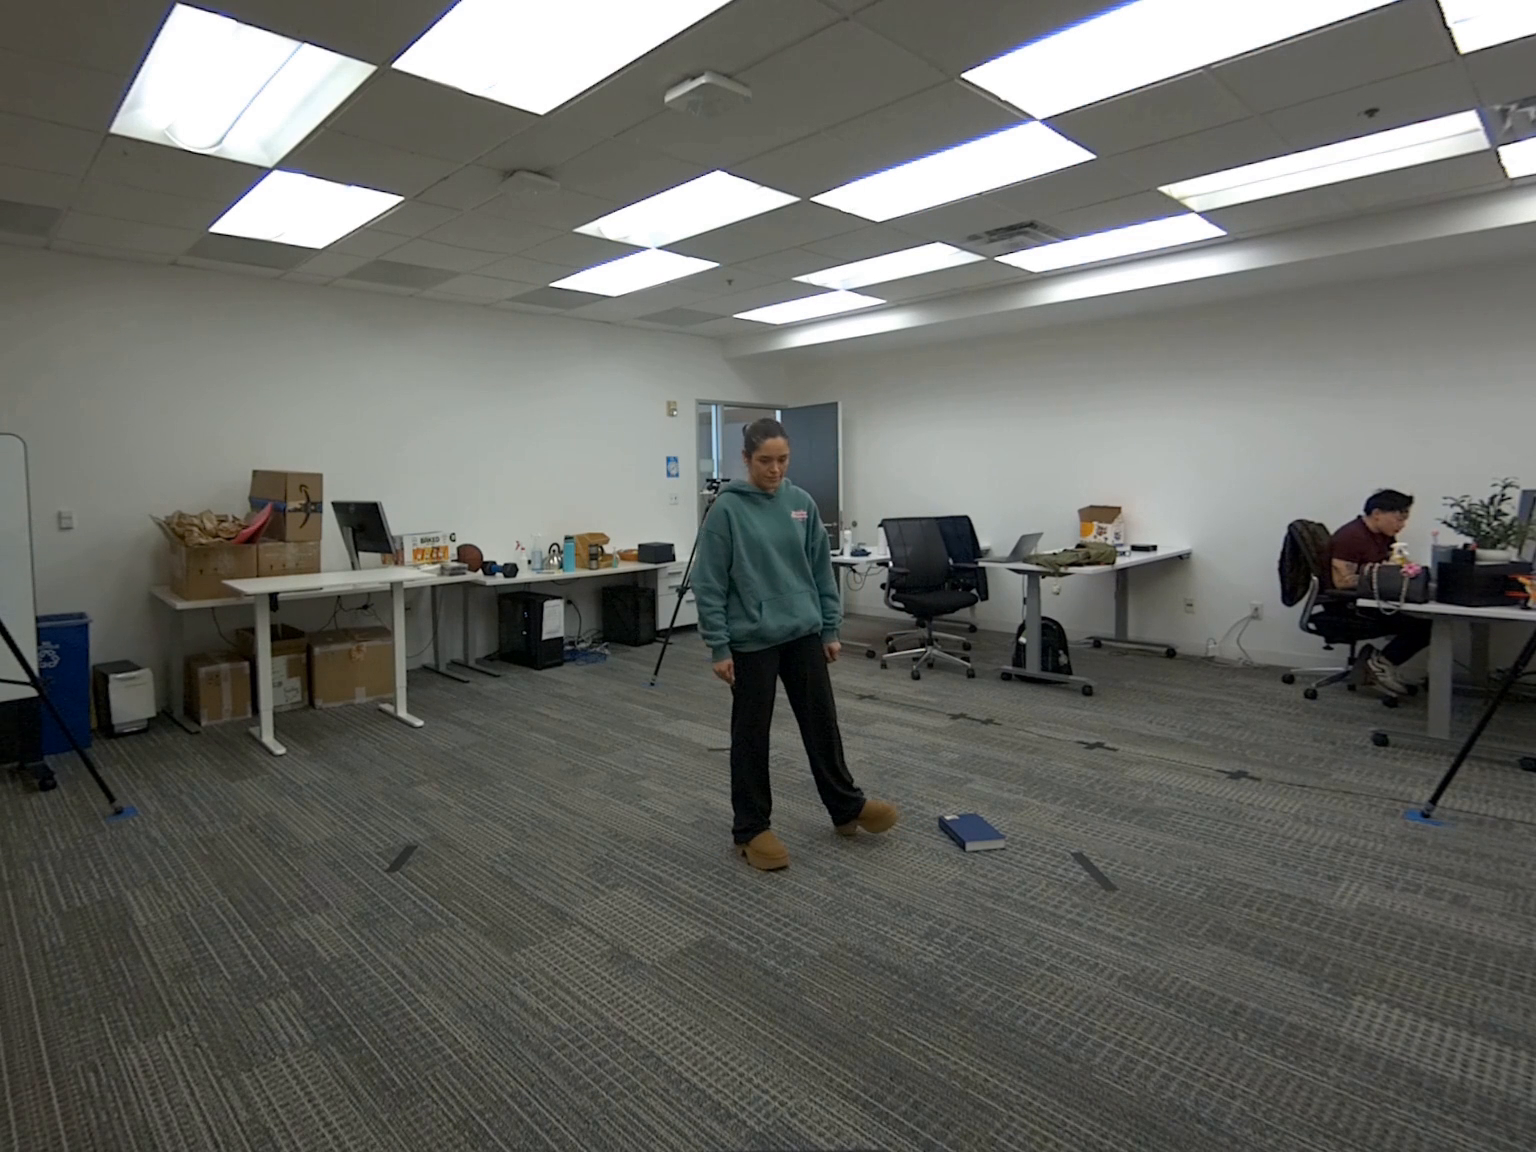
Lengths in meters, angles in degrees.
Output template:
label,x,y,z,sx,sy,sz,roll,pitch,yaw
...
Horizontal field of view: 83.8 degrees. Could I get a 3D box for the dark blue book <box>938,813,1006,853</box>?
label,x,y,z,sx,sy,sz,roll,pitch,yaw
dark blue book,0.778,0.978,3.293,0.162,0.045,0.248,-2,6,-11
